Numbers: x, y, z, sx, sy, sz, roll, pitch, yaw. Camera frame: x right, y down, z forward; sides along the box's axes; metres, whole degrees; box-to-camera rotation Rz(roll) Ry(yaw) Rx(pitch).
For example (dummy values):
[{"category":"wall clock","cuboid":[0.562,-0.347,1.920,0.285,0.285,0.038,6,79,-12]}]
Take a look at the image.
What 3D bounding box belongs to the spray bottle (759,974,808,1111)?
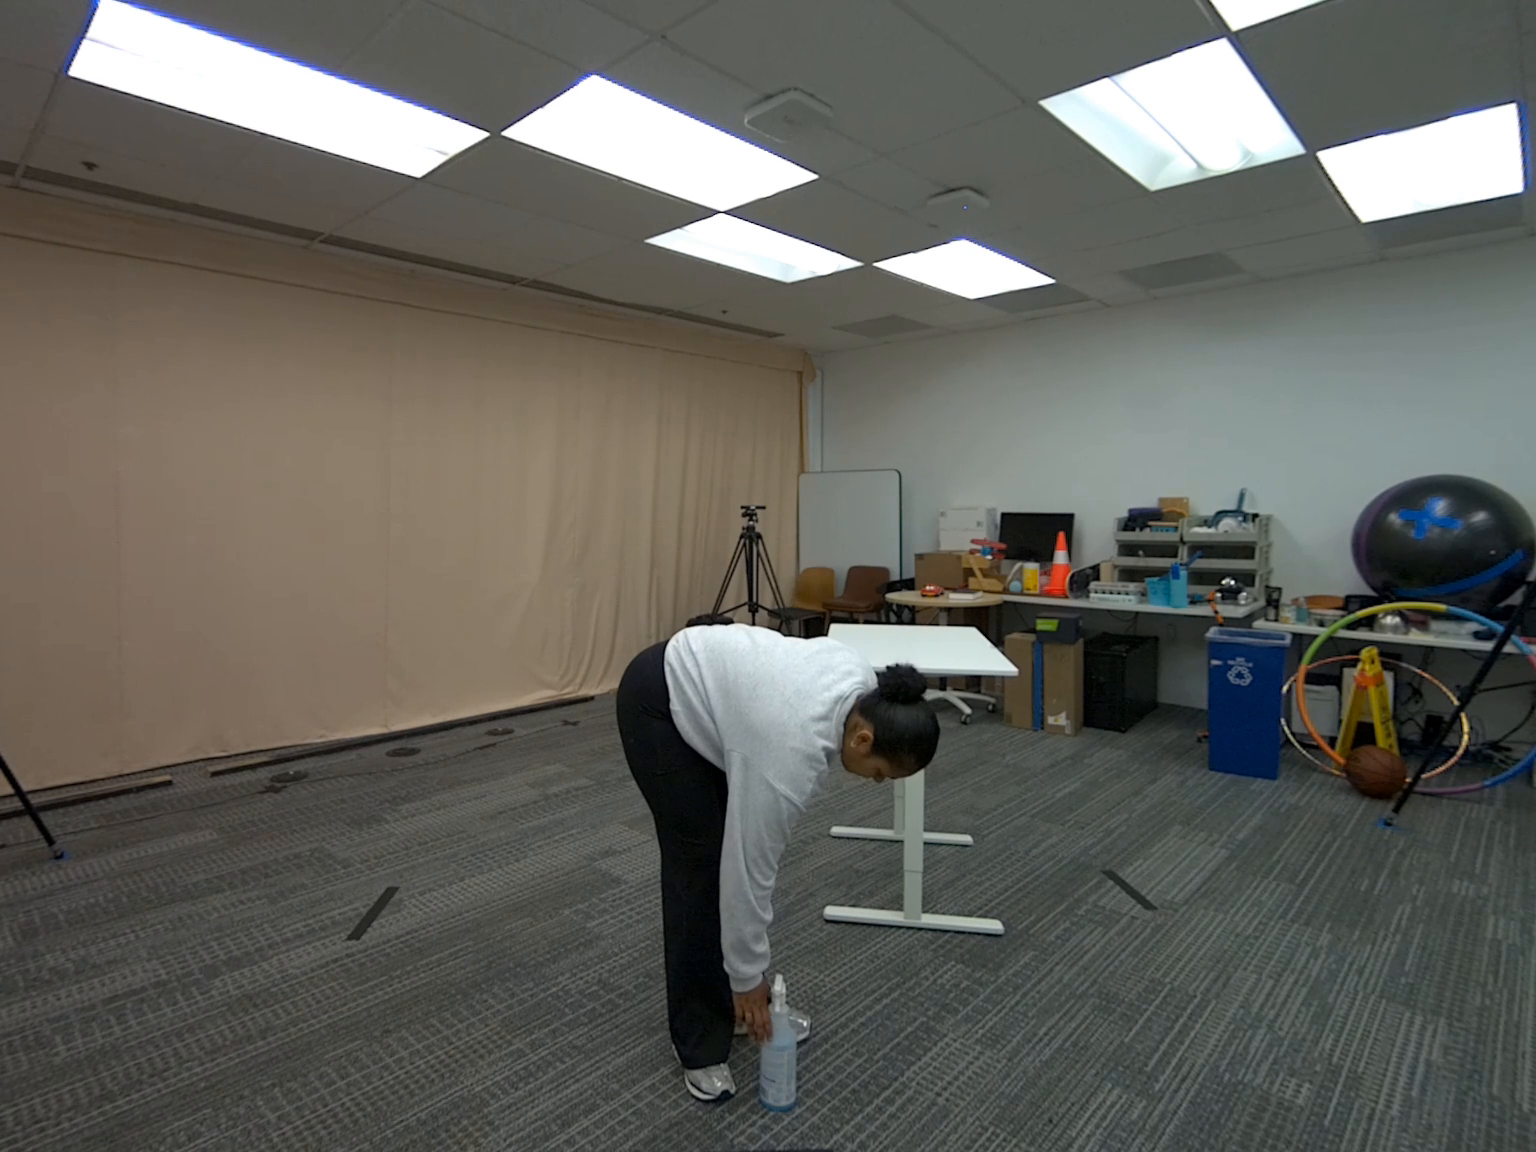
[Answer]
[{"category":"spray bottle","cuboid":[0.031,1.086,1.955,0.089,0.297,0.087,3,4,31]}]
